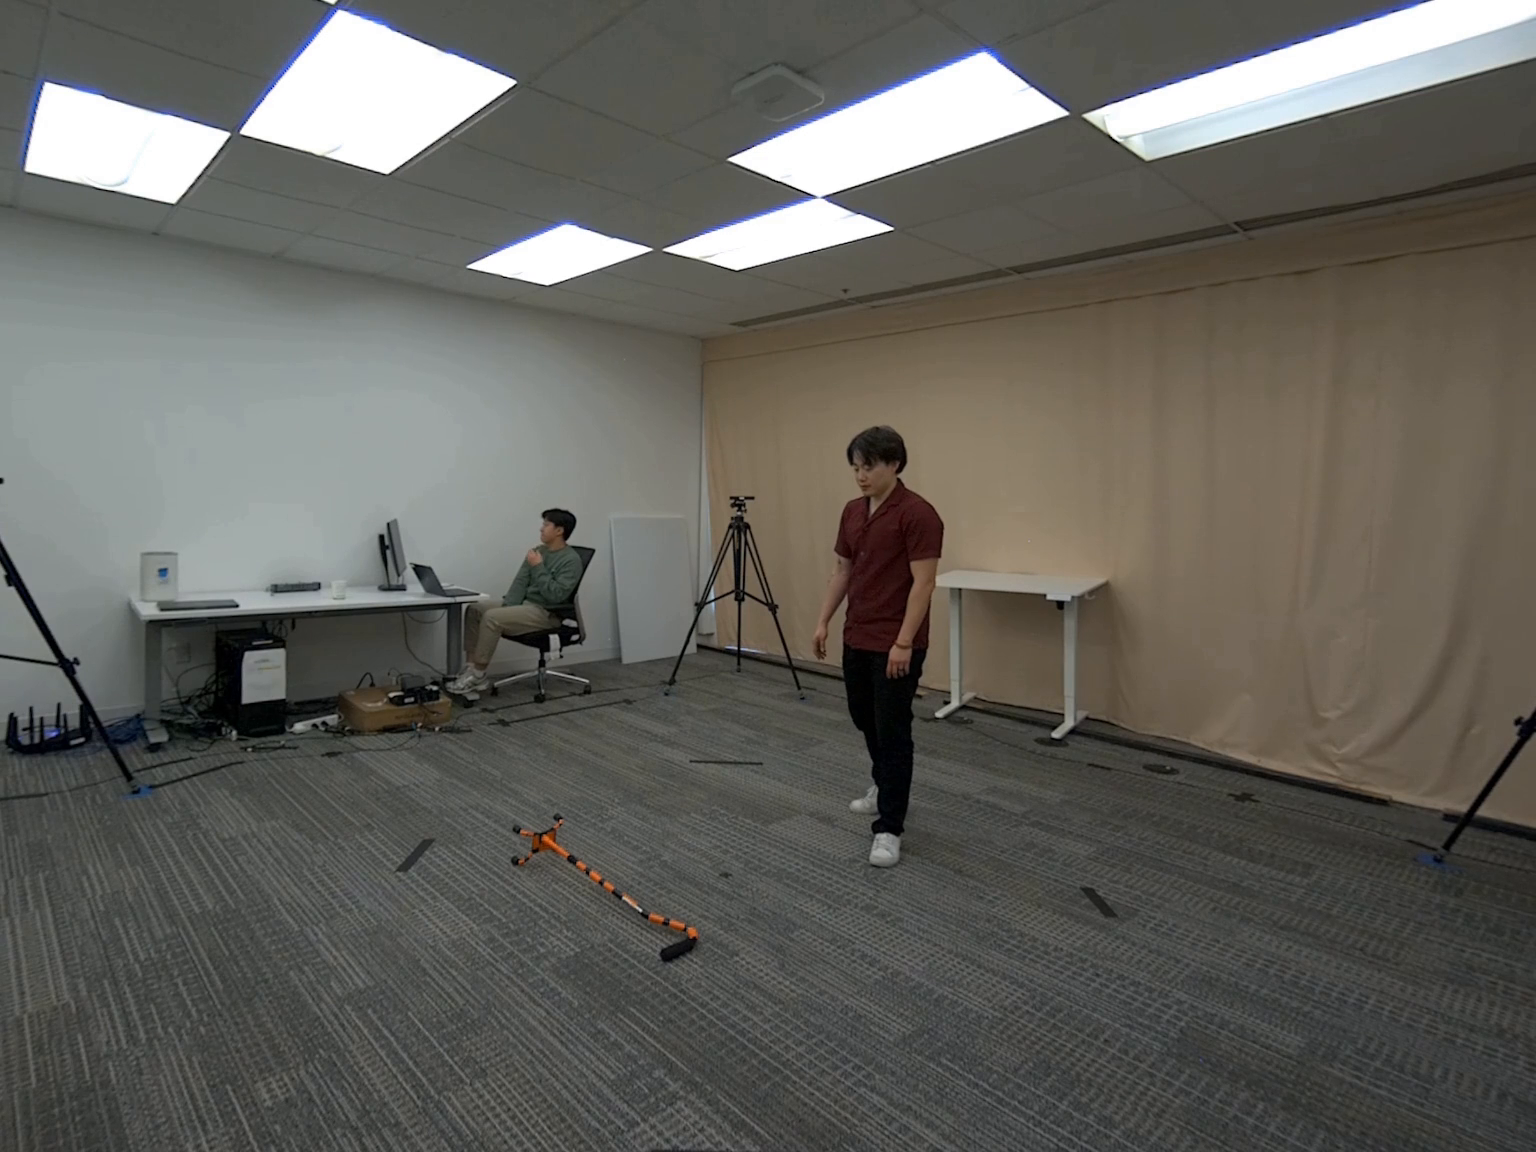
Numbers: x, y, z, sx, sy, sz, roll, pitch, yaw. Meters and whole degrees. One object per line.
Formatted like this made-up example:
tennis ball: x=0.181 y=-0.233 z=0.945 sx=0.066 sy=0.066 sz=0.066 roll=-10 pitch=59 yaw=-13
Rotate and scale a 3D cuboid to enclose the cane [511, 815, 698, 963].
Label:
cane: x=-0.570 y=1.070 z=2.893 sx=0.202 sy=0.151 sz=0.933 roll=-3 pitch=11 yaw=-44
